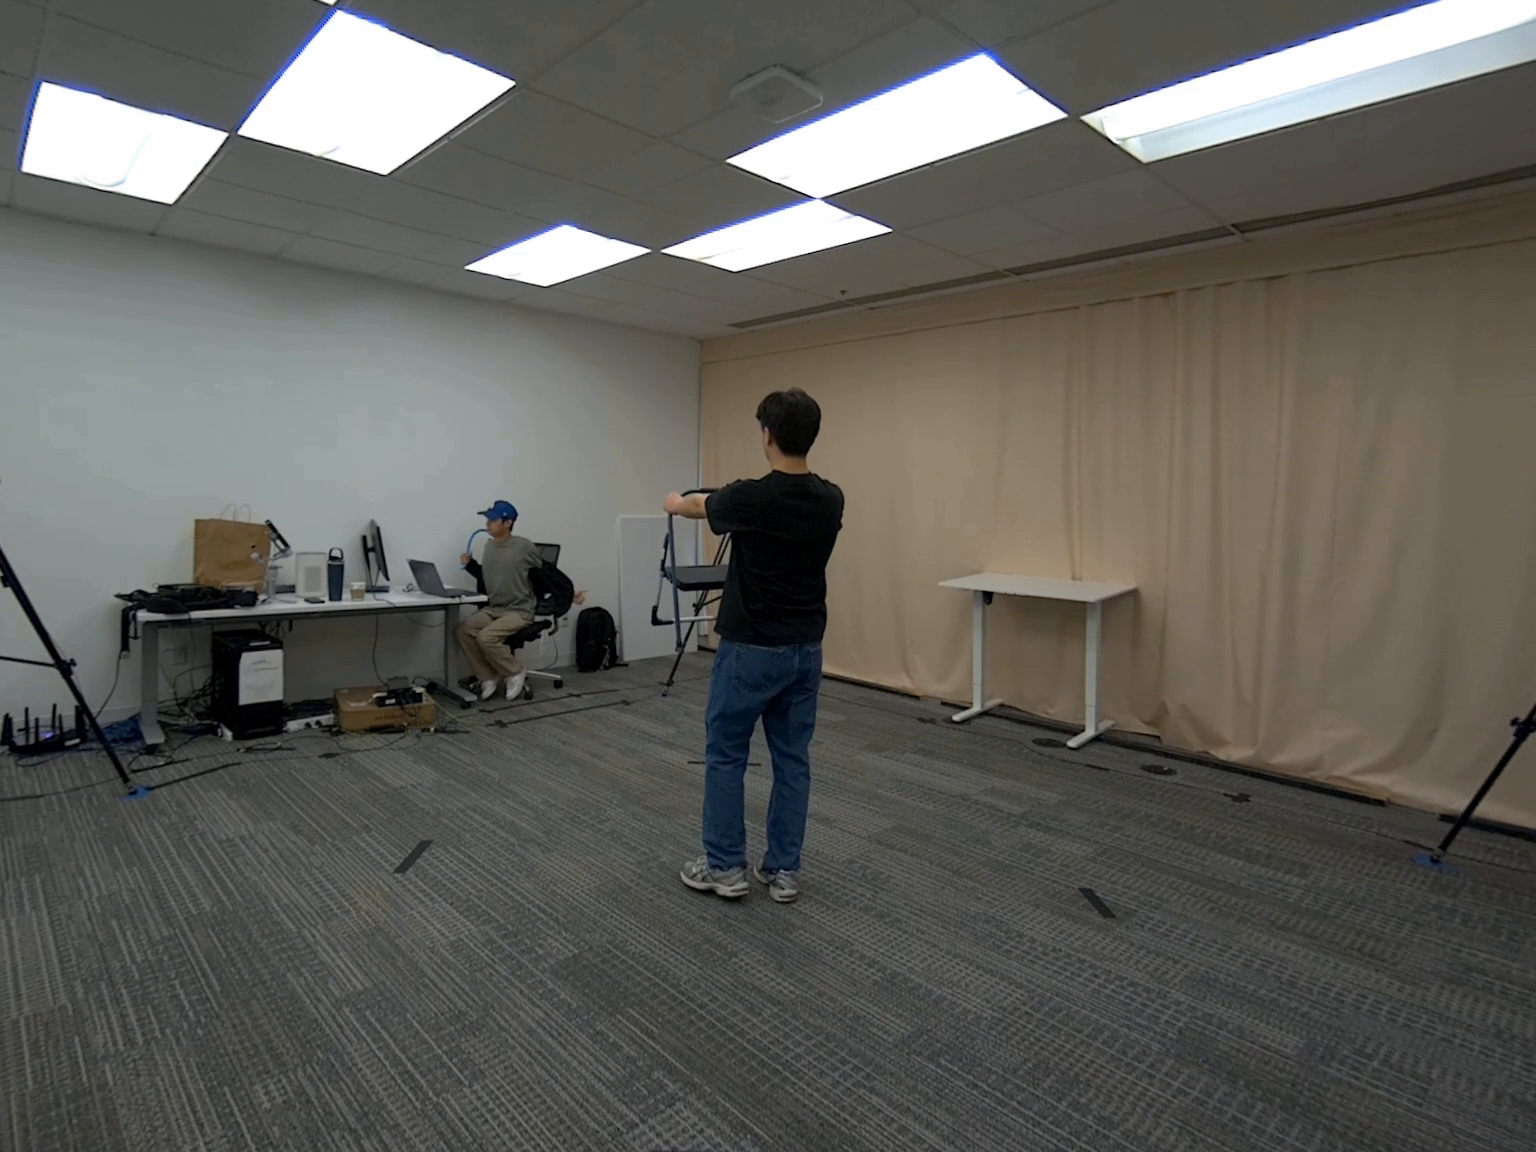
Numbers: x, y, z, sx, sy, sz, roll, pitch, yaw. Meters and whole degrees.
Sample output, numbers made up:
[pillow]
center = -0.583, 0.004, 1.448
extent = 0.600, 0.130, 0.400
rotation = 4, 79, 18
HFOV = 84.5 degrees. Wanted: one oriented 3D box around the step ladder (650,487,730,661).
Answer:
[step ladder]
center = -0.228, -0.046, 3.465
extent = 0.423, 0.601, 0.358
rotation = -2, 13, -27
